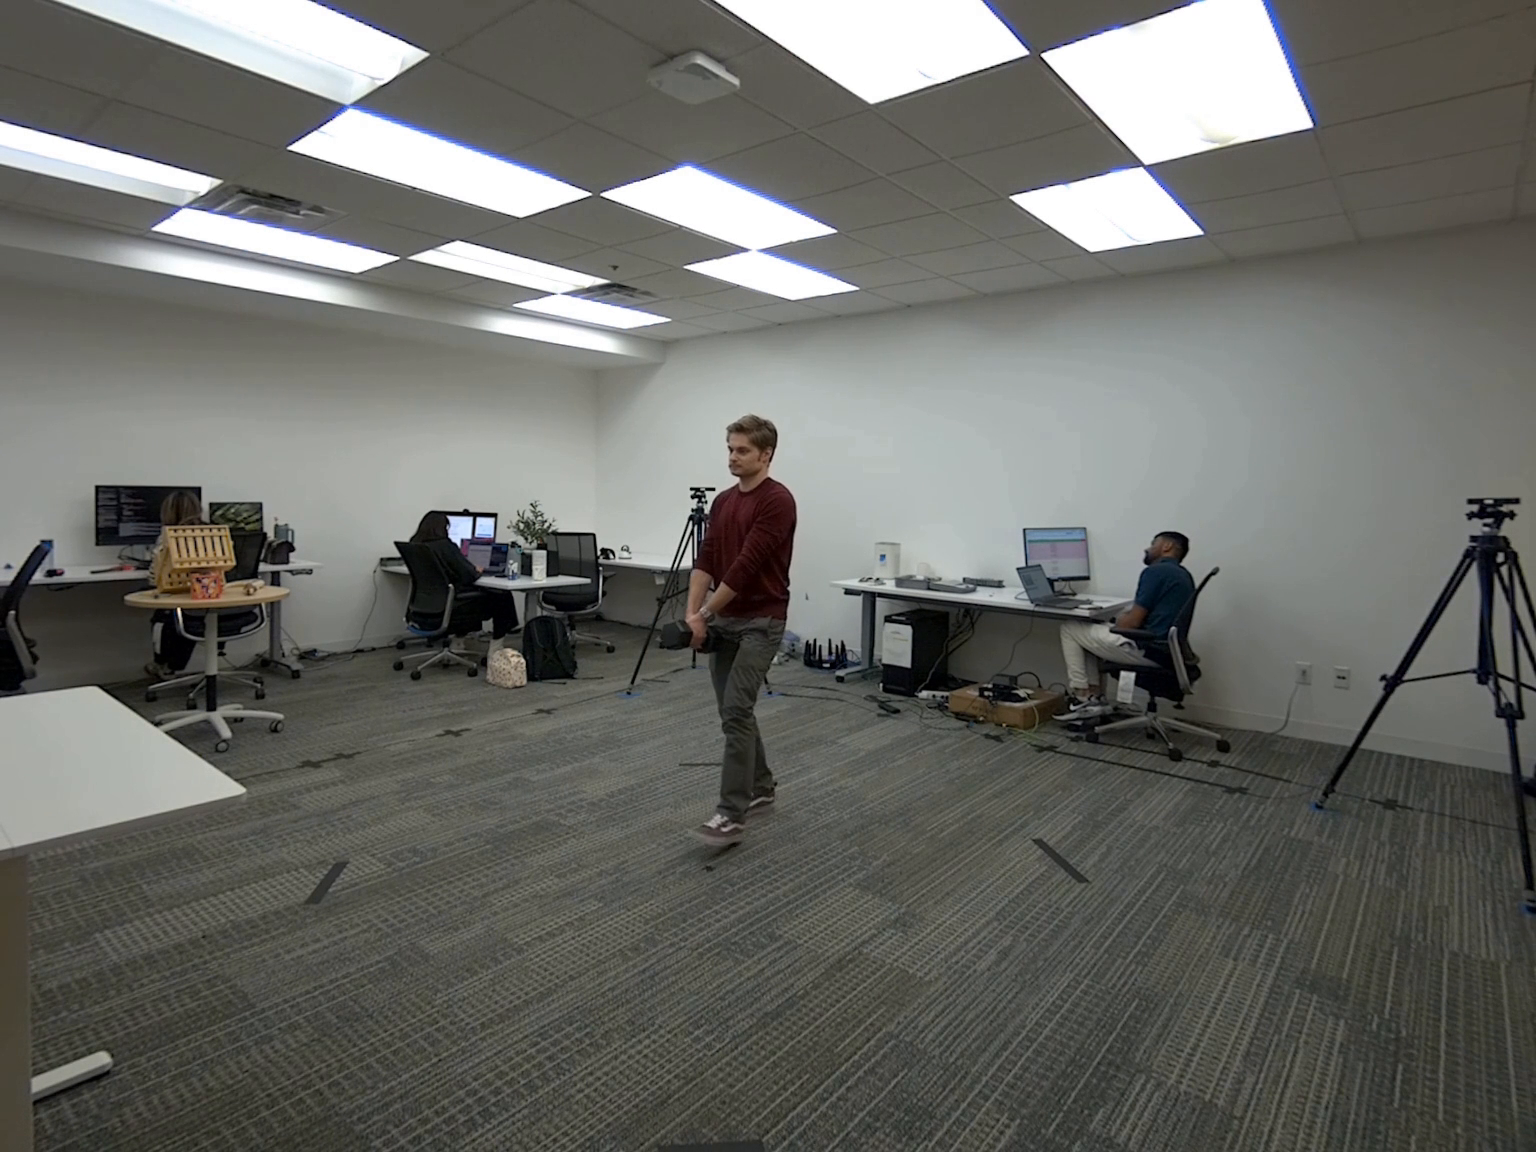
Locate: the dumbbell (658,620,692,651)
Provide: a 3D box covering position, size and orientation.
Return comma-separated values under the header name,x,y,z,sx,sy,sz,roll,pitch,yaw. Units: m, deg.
name,x,y,z,sx,sy,sz,roll,pitch,yaw
dumbbell,-0.320,0.246,3.385,0.283,0.108,0.128,16,30,-54
